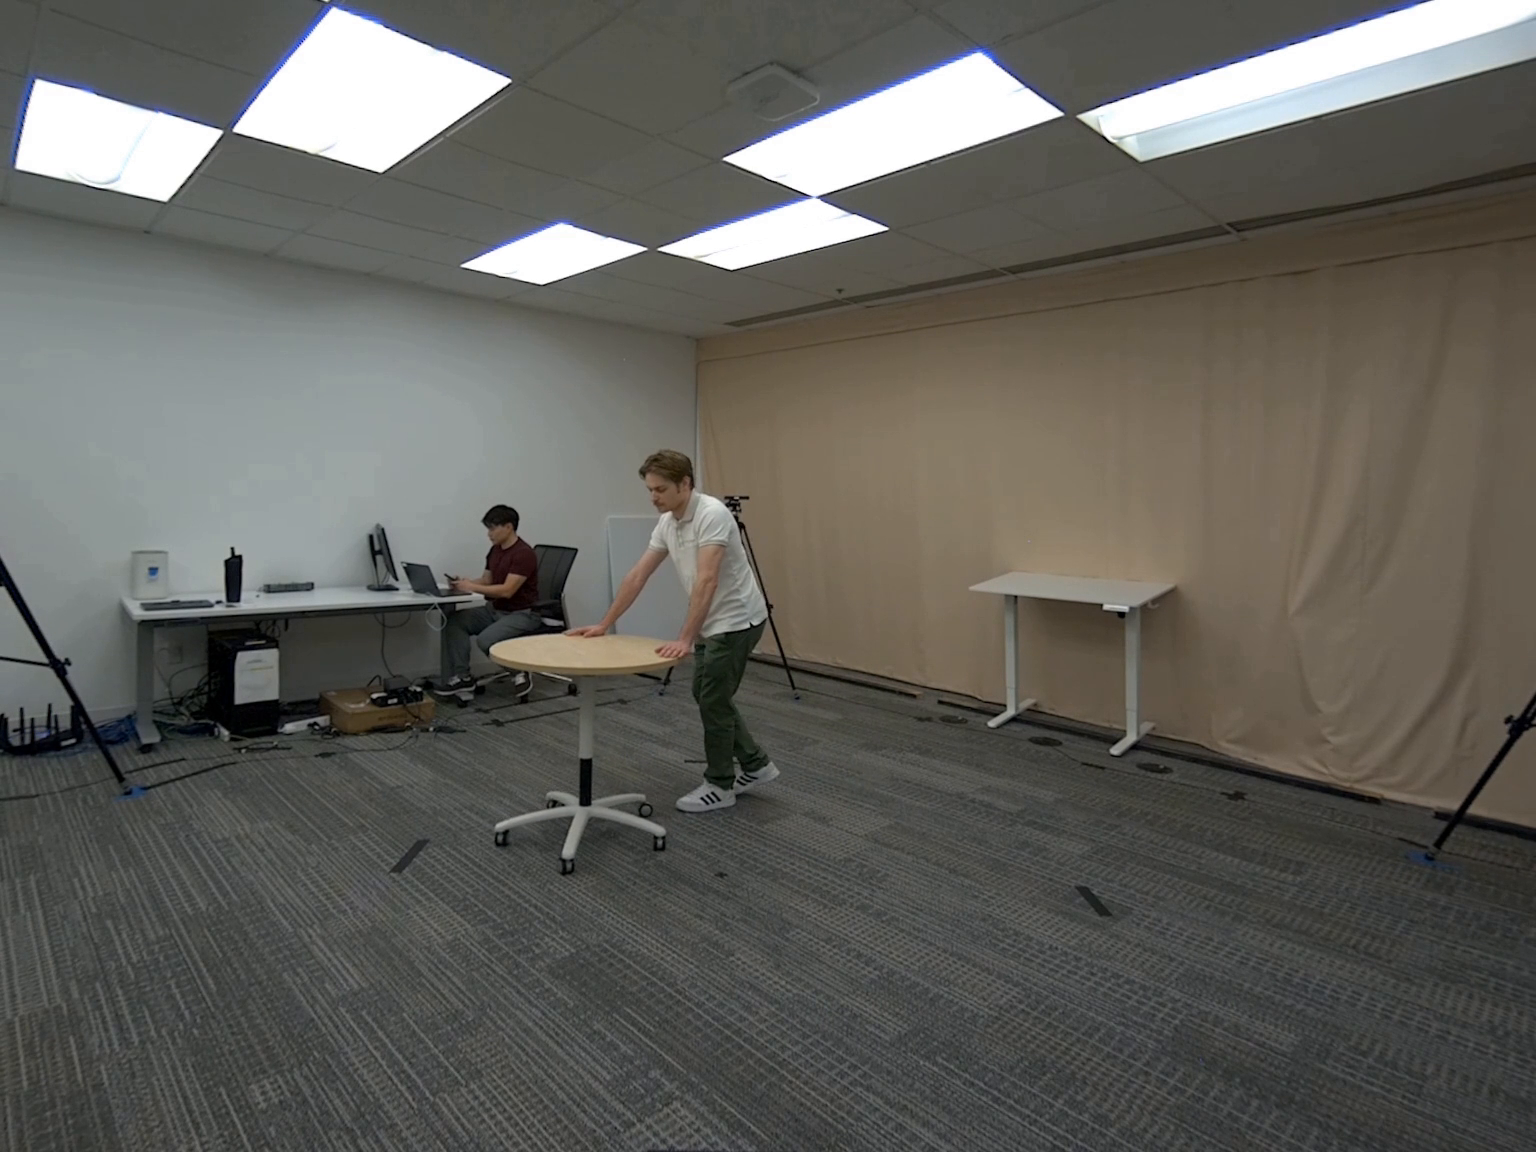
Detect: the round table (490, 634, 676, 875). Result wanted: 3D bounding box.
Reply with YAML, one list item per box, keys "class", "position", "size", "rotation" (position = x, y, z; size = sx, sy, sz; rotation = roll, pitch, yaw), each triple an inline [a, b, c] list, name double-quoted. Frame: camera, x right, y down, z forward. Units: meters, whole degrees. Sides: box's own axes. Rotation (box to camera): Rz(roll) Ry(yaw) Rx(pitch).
- class: "round table"
  position: [-0.739, 0.682, 3.383]
  size: [0.763, 0.792, 0.766]
  rotation: [2, 4, -1]
